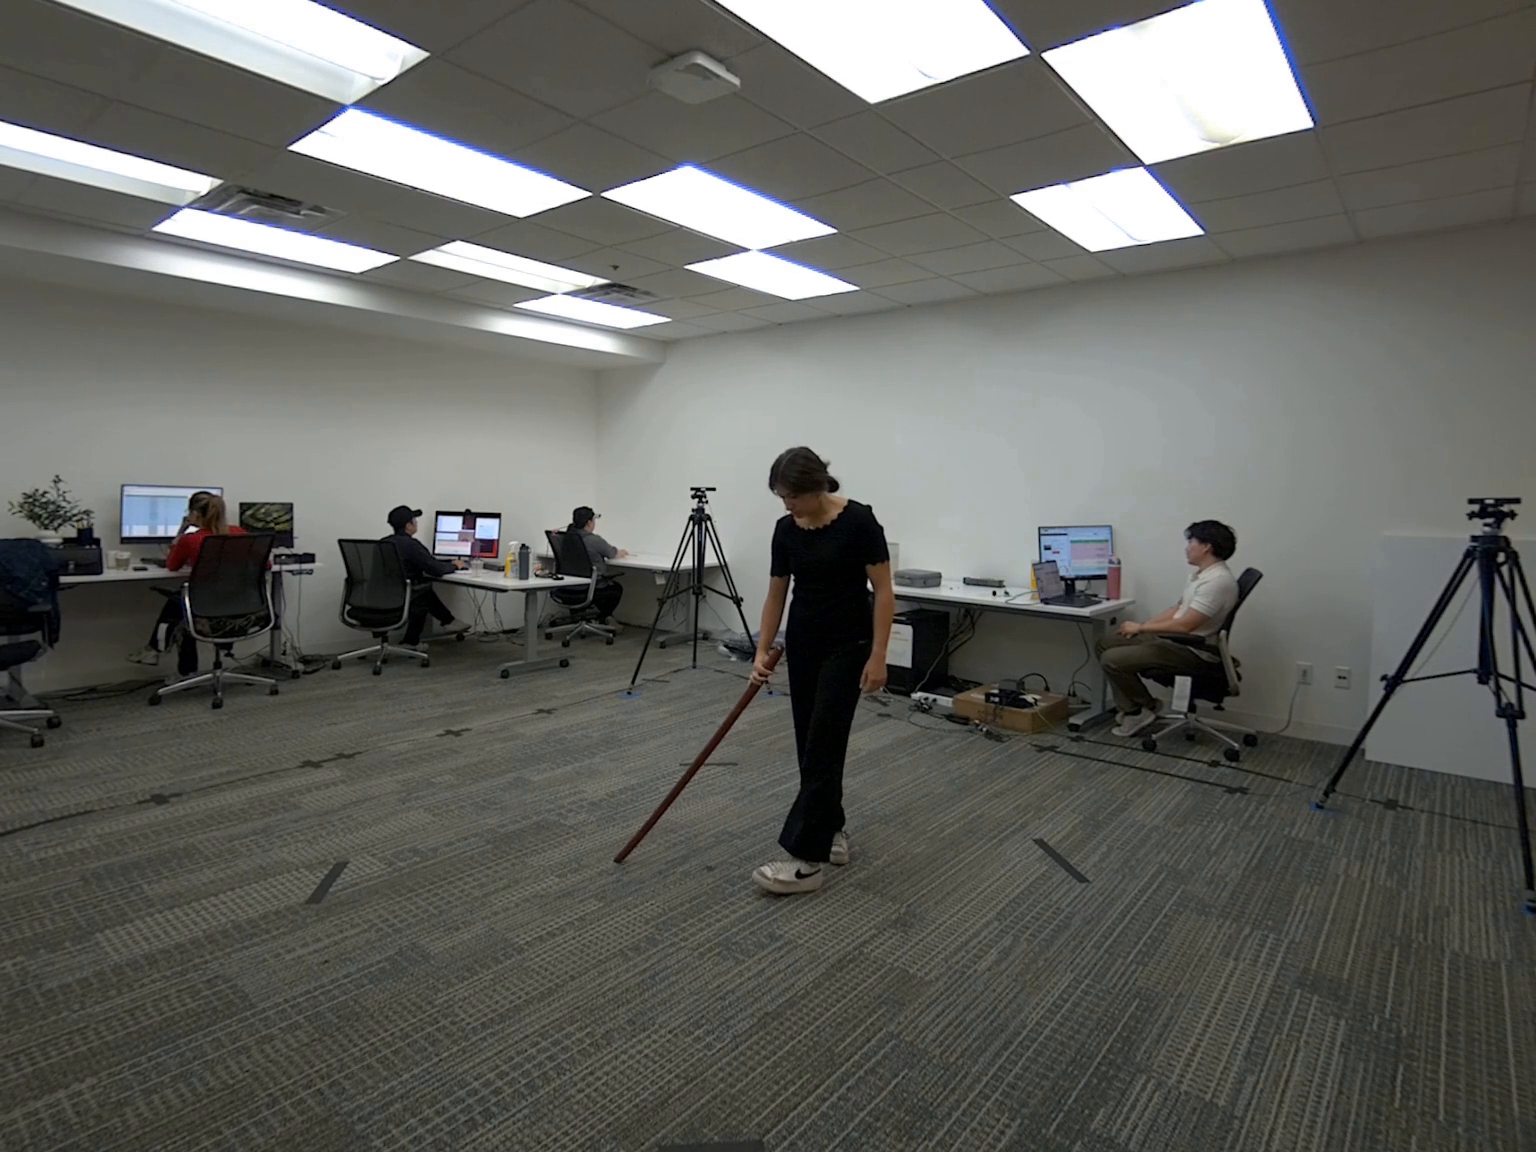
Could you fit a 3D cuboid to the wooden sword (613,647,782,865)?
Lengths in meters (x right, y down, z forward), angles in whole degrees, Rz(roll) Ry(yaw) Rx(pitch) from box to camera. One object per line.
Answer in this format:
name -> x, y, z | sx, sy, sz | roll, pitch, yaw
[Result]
wooden sword -> -0.252, 0.679, 3.070 | 0.050, 1.024, 0.025 | 38, 8, -17
